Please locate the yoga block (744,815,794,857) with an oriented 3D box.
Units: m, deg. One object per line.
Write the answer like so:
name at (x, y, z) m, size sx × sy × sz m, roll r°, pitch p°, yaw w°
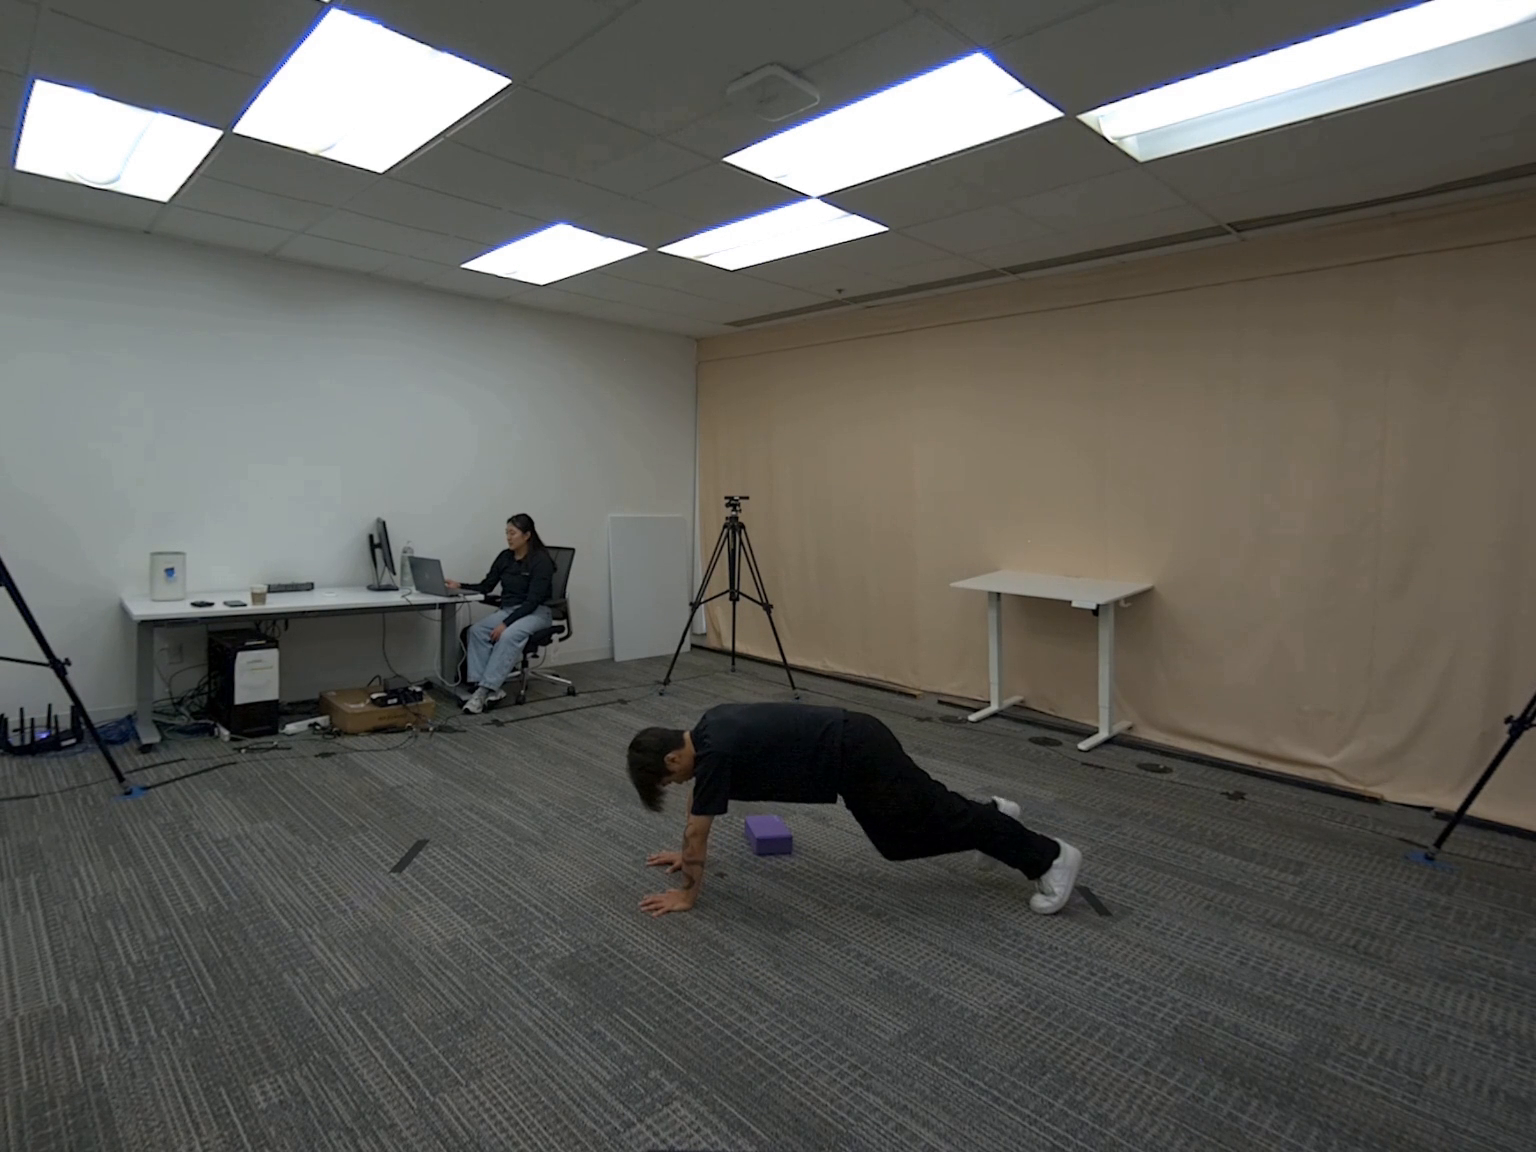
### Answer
yoga block at (-0.009, 1.041, 3.399) m, size 0.147 × 0.076 × 0.232 m, roll -1°, pitch 6°, yaw -13°
